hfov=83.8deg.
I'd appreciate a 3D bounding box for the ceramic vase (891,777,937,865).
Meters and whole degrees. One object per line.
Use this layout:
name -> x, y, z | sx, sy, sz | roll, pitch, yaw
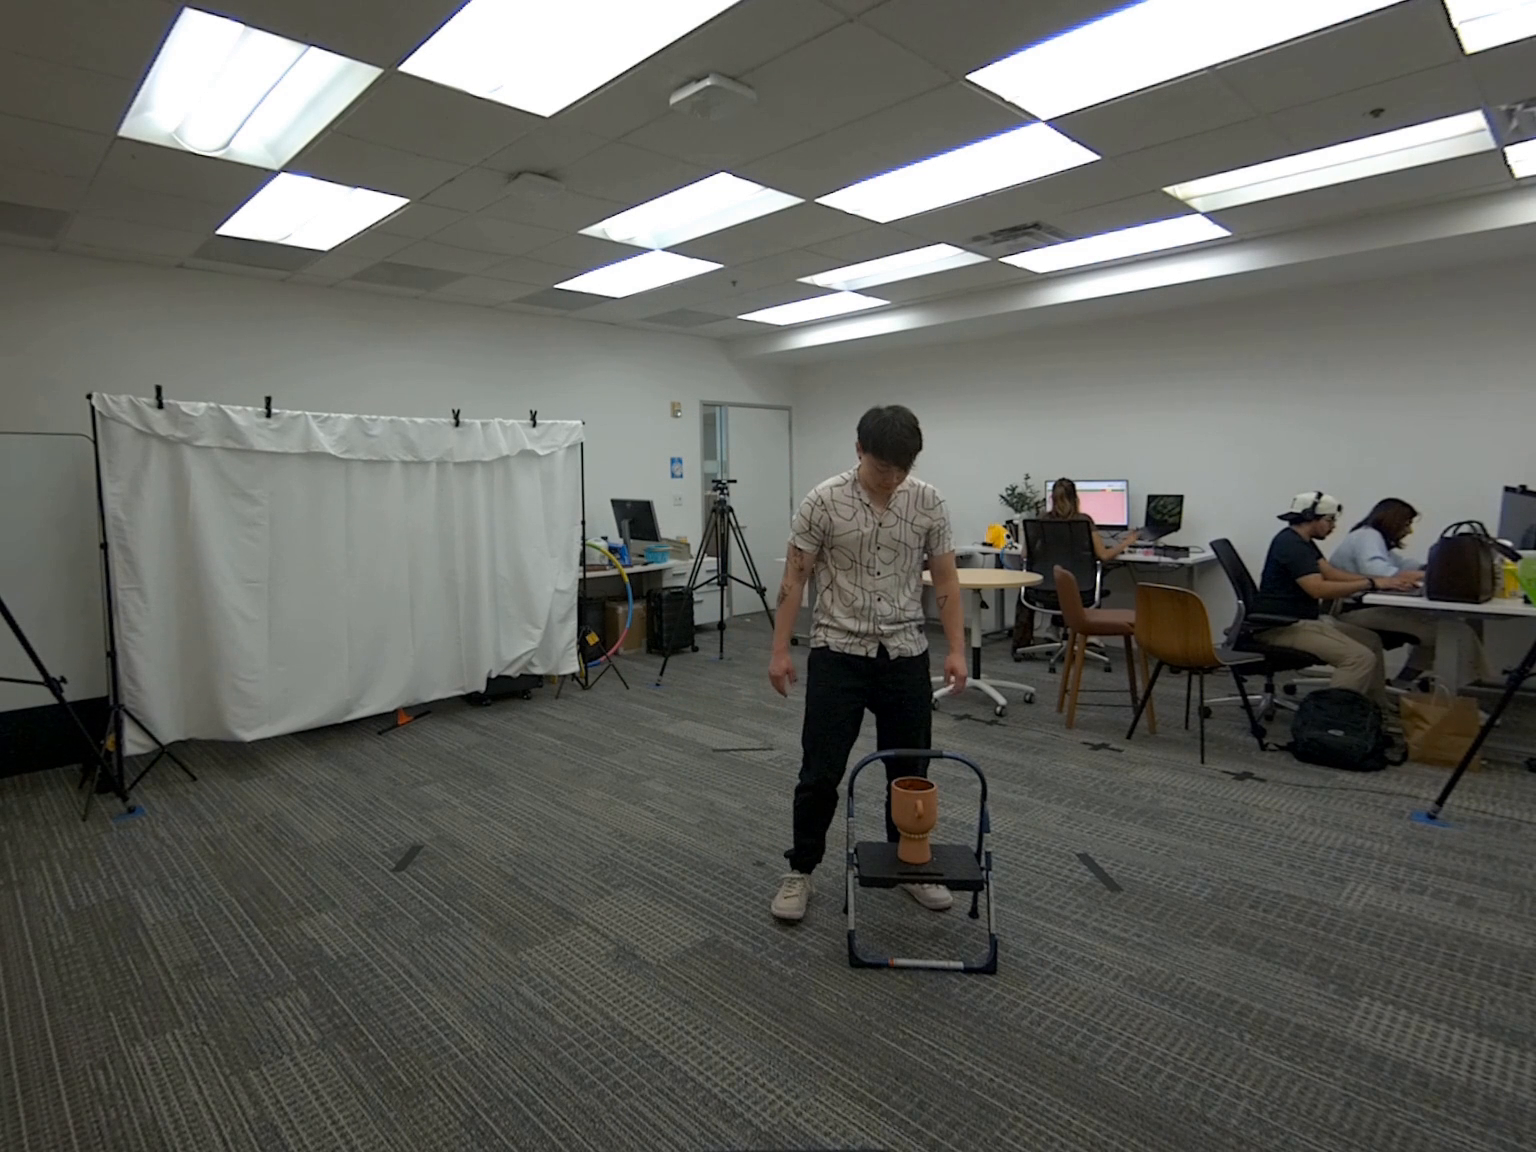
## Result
ceramic vase -> 0.441, 0.729, 2.543 | 0.139, 0.219, 0.154 | 4, 6, 41
